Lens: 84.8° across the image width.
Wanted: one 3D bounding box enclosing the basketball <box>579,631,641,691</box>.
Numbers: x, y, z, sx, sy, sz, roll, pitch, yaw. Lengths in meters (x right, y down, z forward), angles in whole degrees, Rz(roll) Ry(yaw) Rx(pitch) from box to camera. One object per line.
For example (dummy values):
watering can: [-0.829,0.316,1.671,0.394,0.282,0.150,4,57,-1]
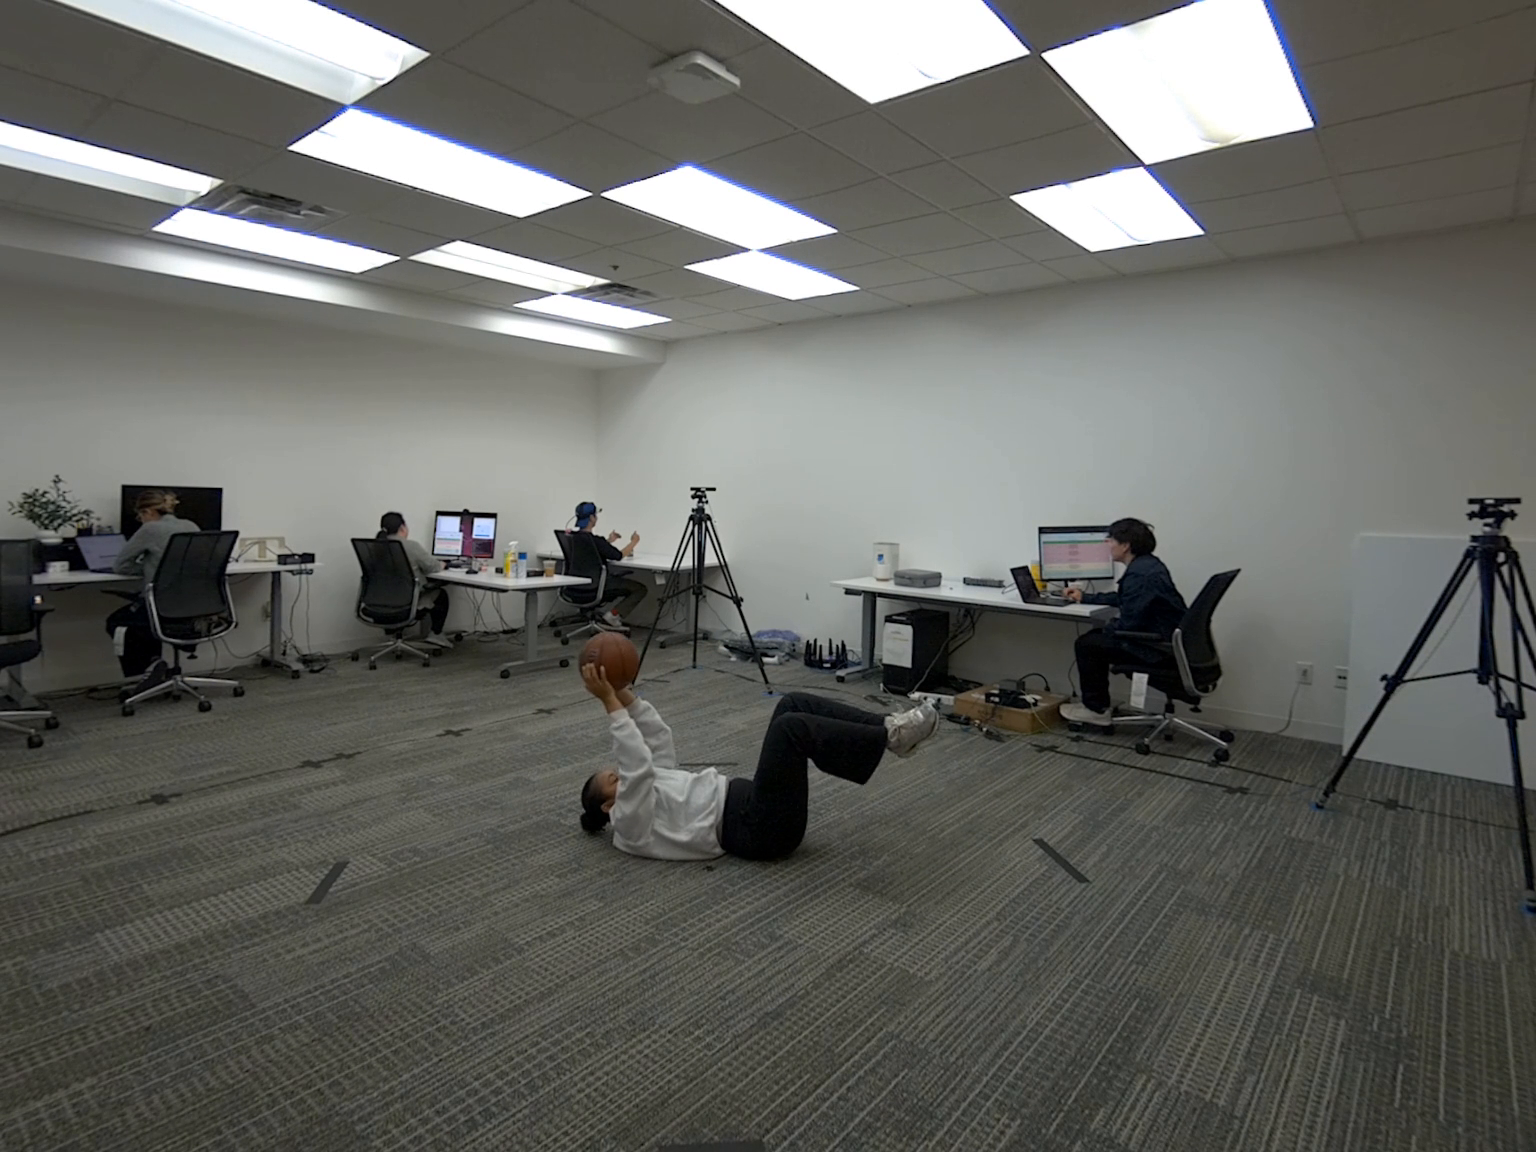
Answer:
basketball: [-0.638,0.348,3.384,0.236,0.235,0.237,0,4,-2]
